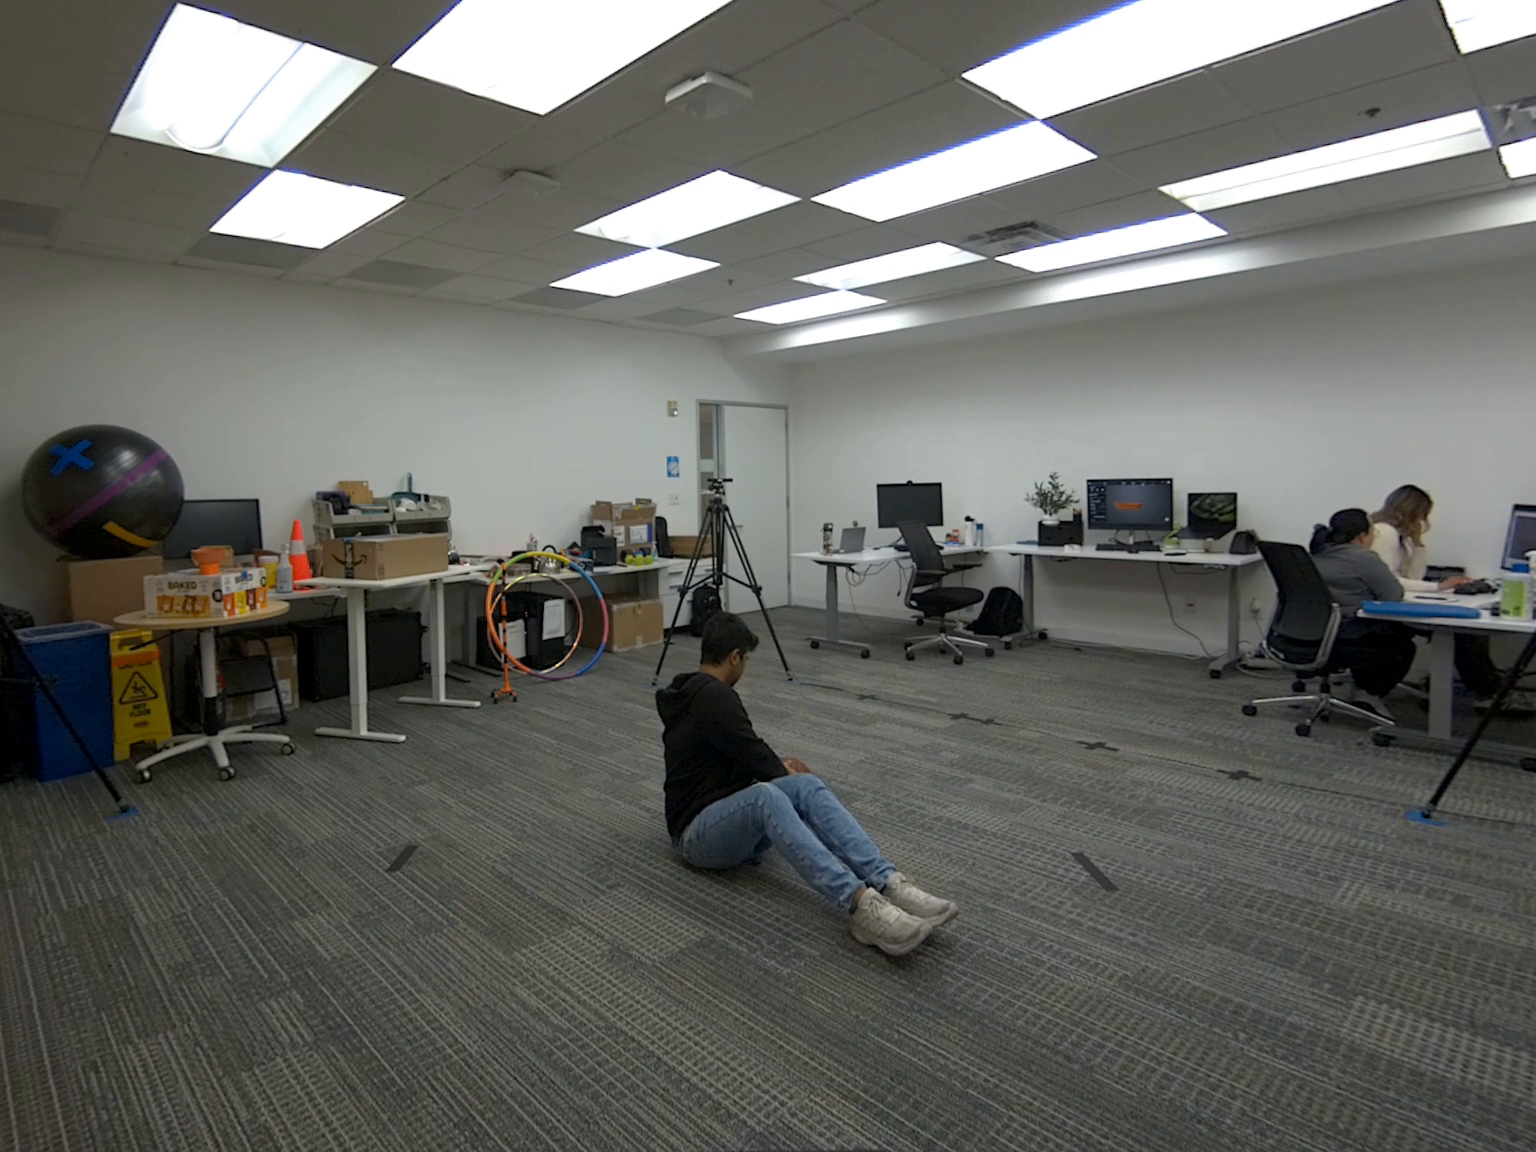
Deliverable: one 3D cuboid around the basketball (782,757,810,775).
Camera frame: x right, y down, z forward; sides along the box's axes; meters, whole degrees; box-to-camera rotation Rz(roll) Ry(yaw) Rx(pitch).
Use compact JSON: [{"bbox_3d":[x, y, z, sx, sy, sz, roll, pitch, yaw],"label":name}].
[{"bbox_3d":[0.078,0.856,3.516,0.236,0.235,0.237,-1,5,-2],"label":"basketball"}]
